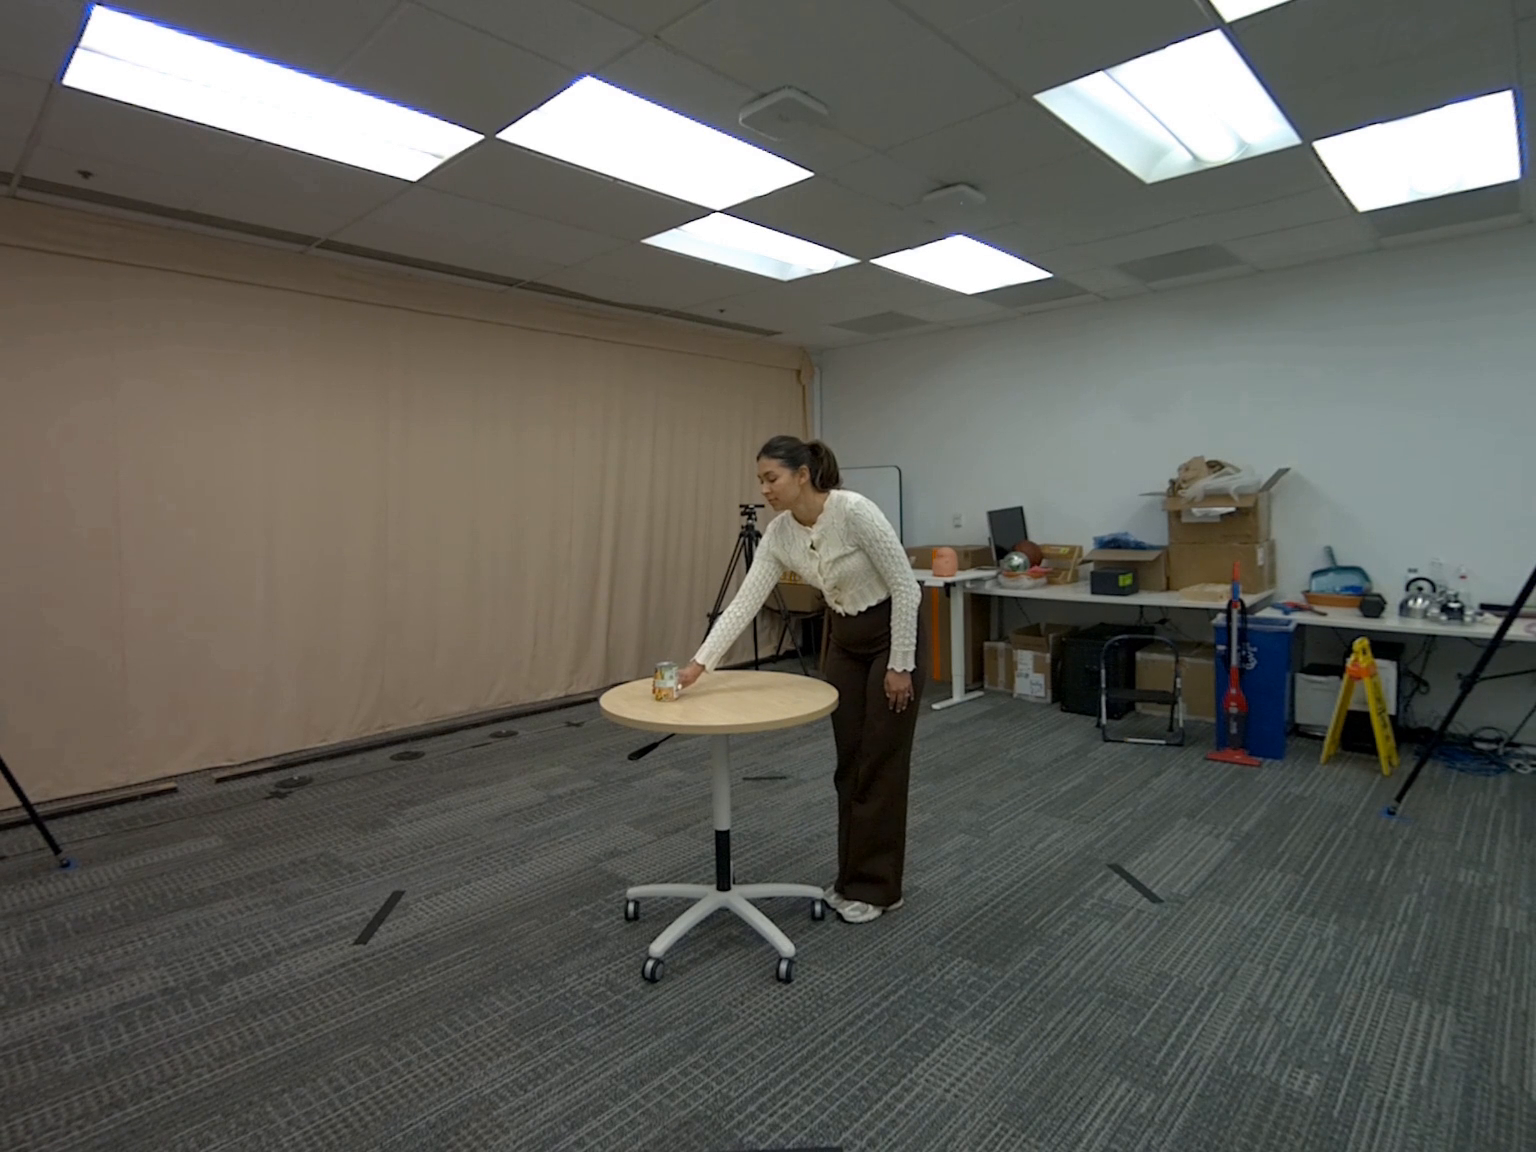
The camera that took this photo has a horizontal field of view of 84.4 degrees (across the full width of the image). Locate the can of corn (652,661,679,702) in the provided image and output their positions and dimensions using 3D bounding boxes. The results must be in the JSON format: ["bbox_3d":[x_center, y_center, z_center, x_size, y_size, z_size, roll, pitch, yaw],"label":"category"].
[{"bbox_3d":[-0.312,0.337,2.666,0.074,0.111,0.074,-1,5,-2],"label":"can of corn"}]
